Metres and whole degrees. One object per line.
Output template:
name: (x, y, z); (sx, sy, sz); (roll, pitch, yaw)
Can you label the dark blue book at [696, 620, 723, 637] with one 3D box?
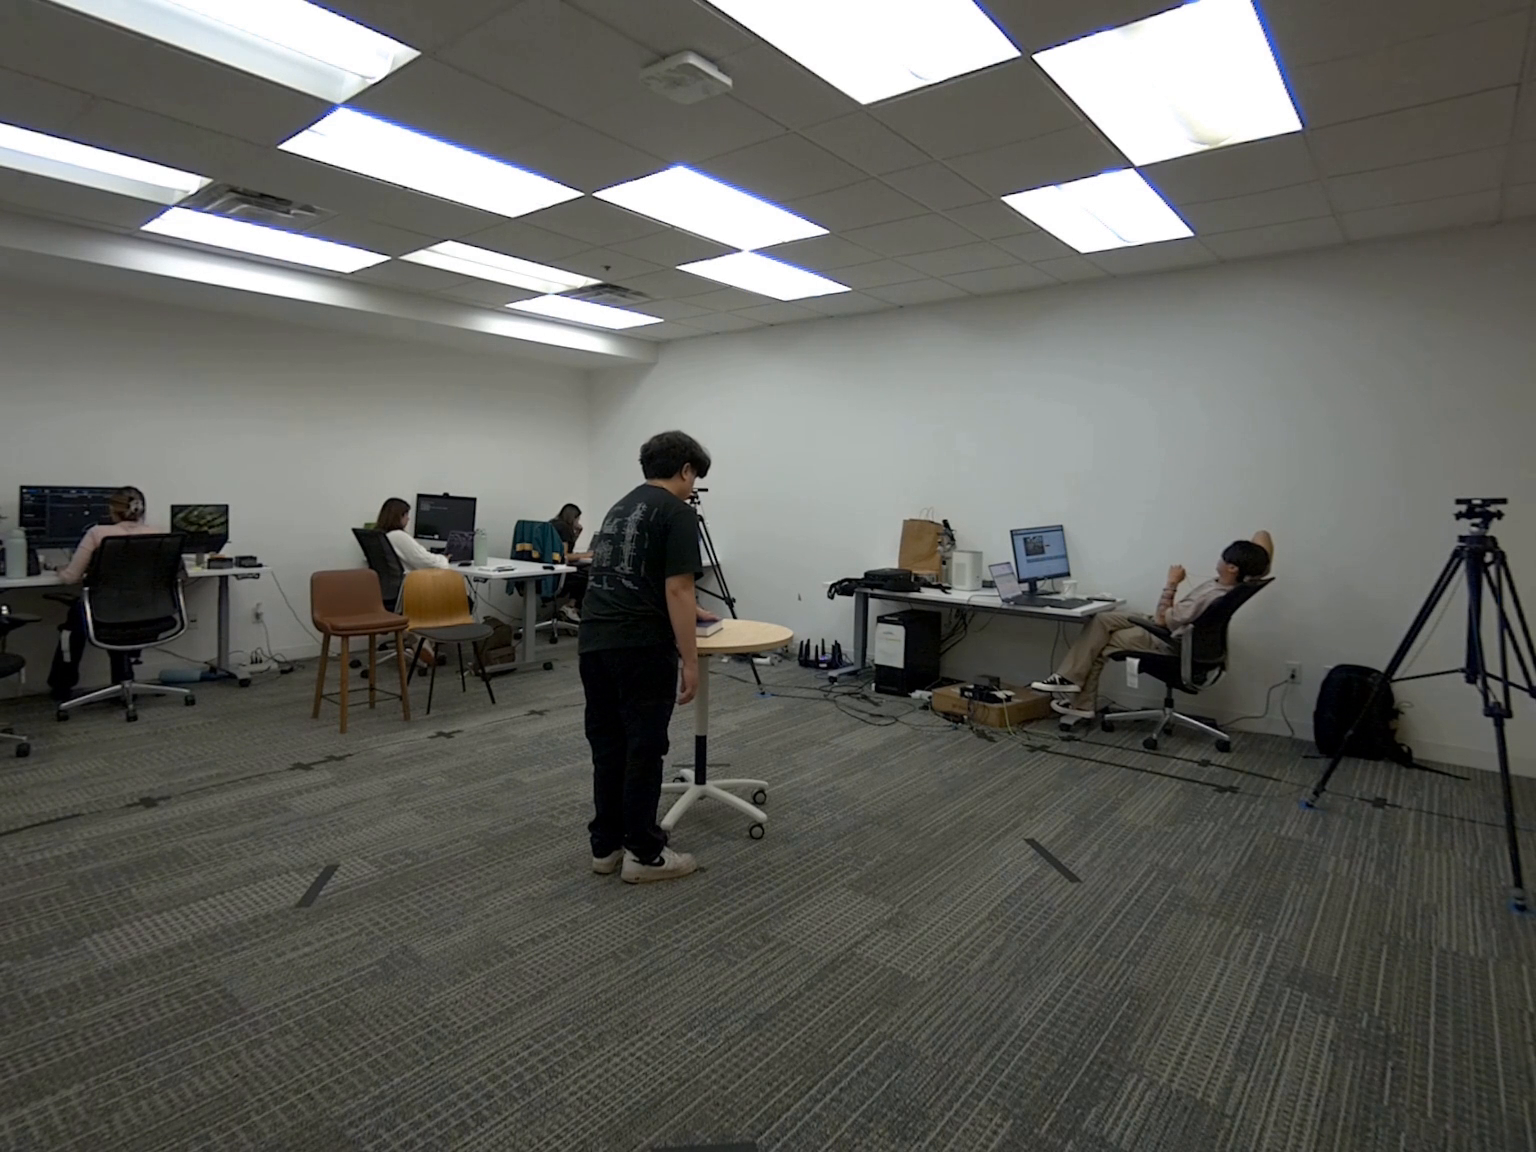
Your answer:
dark blue book: (-0.304, 0.211, 3.575); (0.166, 0.045, 0.242); (1, 5, 12)
